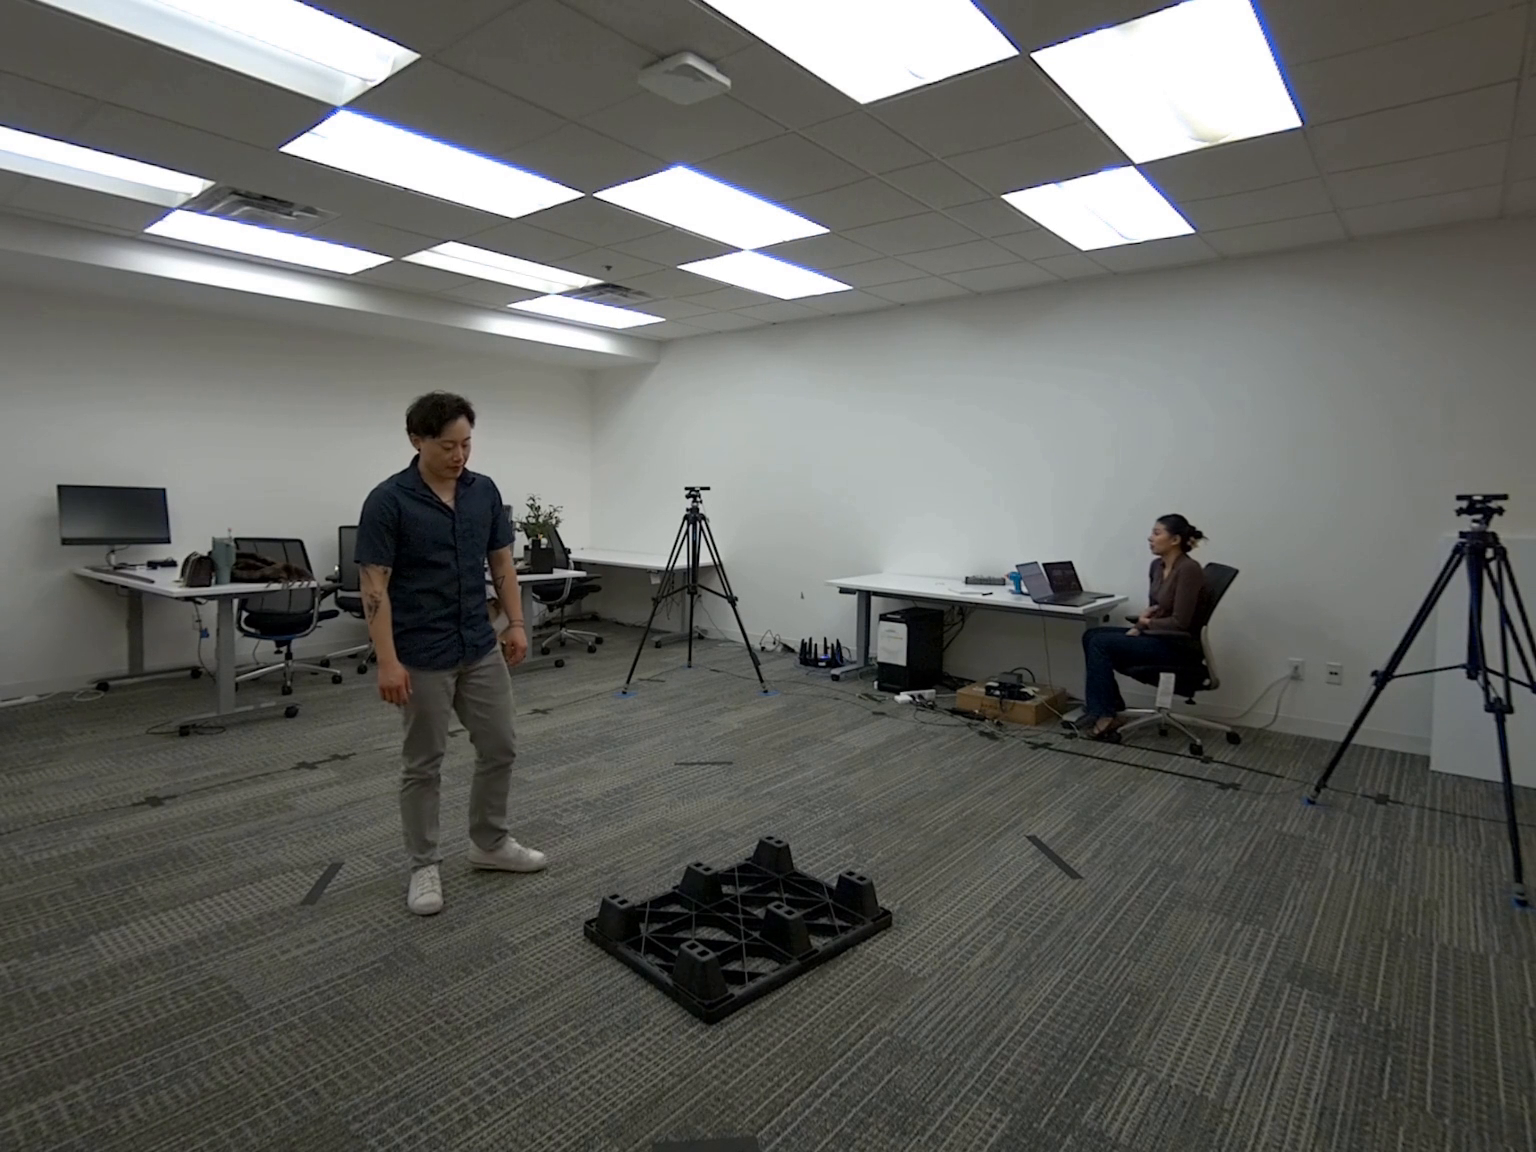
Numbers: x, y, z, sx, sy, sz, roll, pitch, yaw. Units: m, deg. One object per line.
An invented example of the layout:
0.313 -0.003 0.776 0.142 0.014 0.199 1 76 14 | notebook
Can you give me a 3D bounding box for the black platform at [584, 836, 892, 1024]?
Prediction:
-0.092 1.047 2.669 0.781 0.143 0.626 -5 8 -44 | black platform
